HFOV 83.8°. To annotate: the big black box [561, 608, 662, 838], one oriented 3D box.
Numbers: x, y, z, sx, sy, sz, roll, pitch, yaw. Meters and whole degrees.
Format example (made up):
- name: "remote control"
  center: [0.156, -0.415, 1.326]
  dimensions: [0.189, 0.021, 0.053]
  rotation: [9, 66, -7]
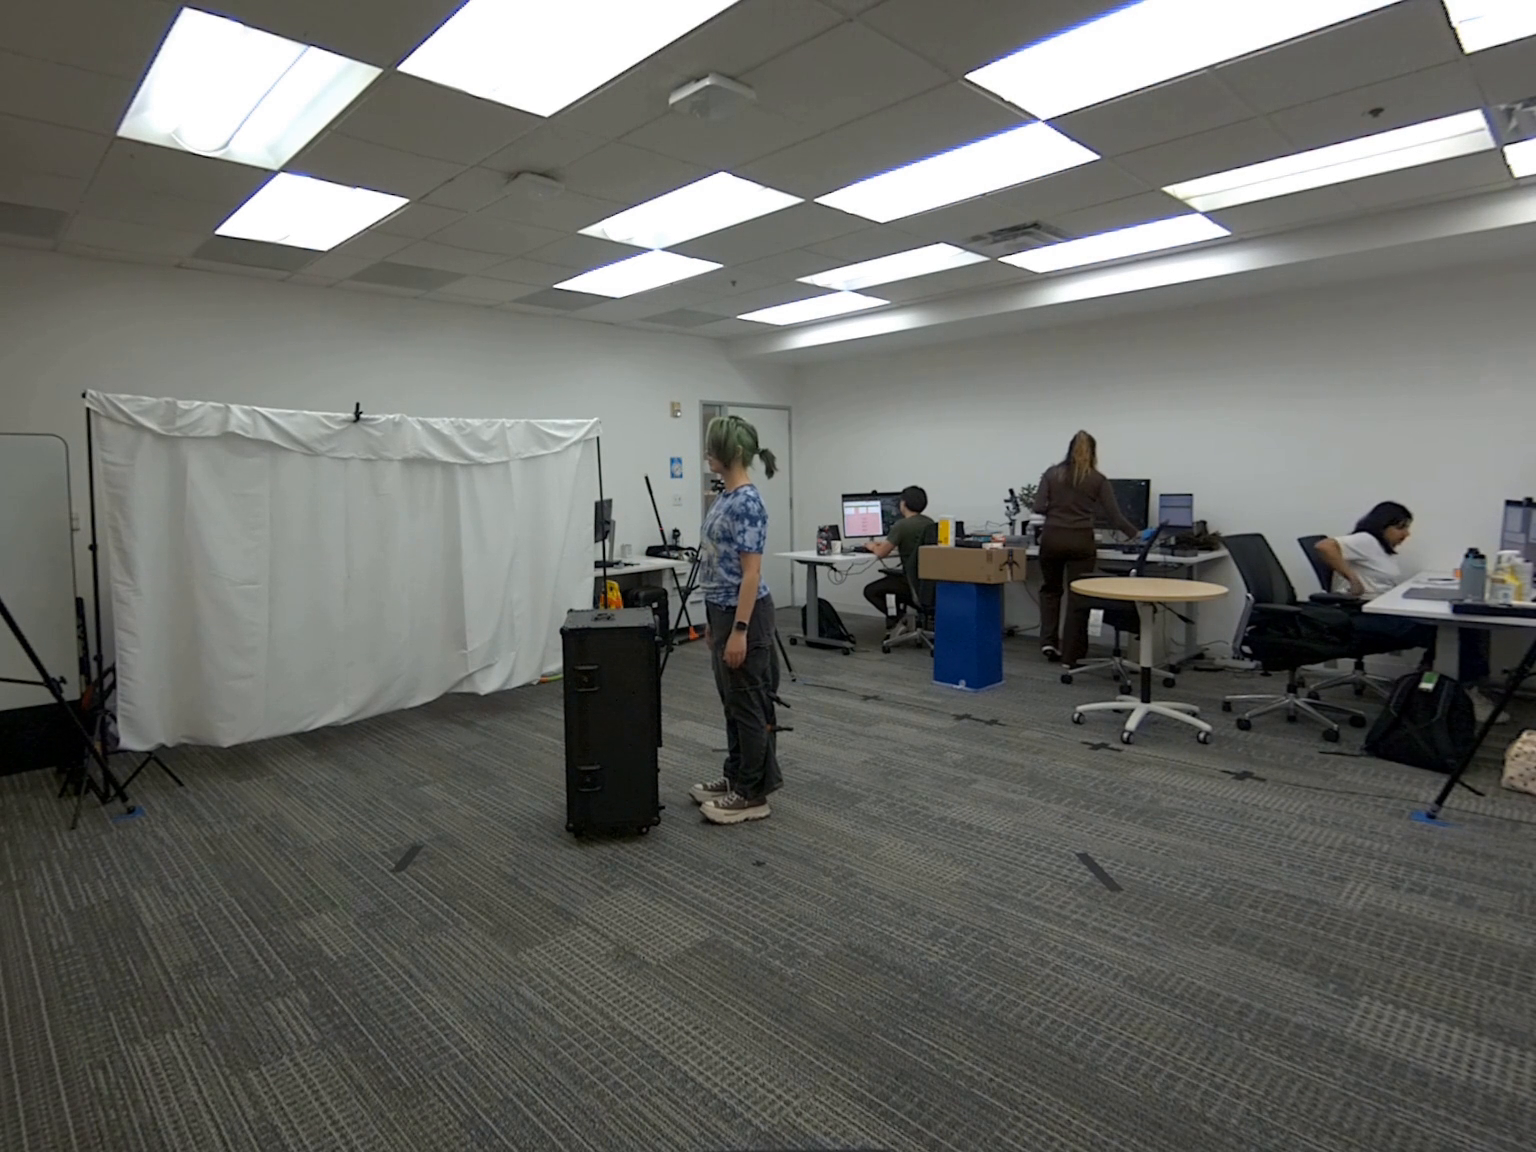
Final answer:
- name: "big black box"
  center: [-0.634, 0.592, 3.495]
  dimensions: [0.393, 0.859, 0.526]
  rotation: [0, 3, -8]
